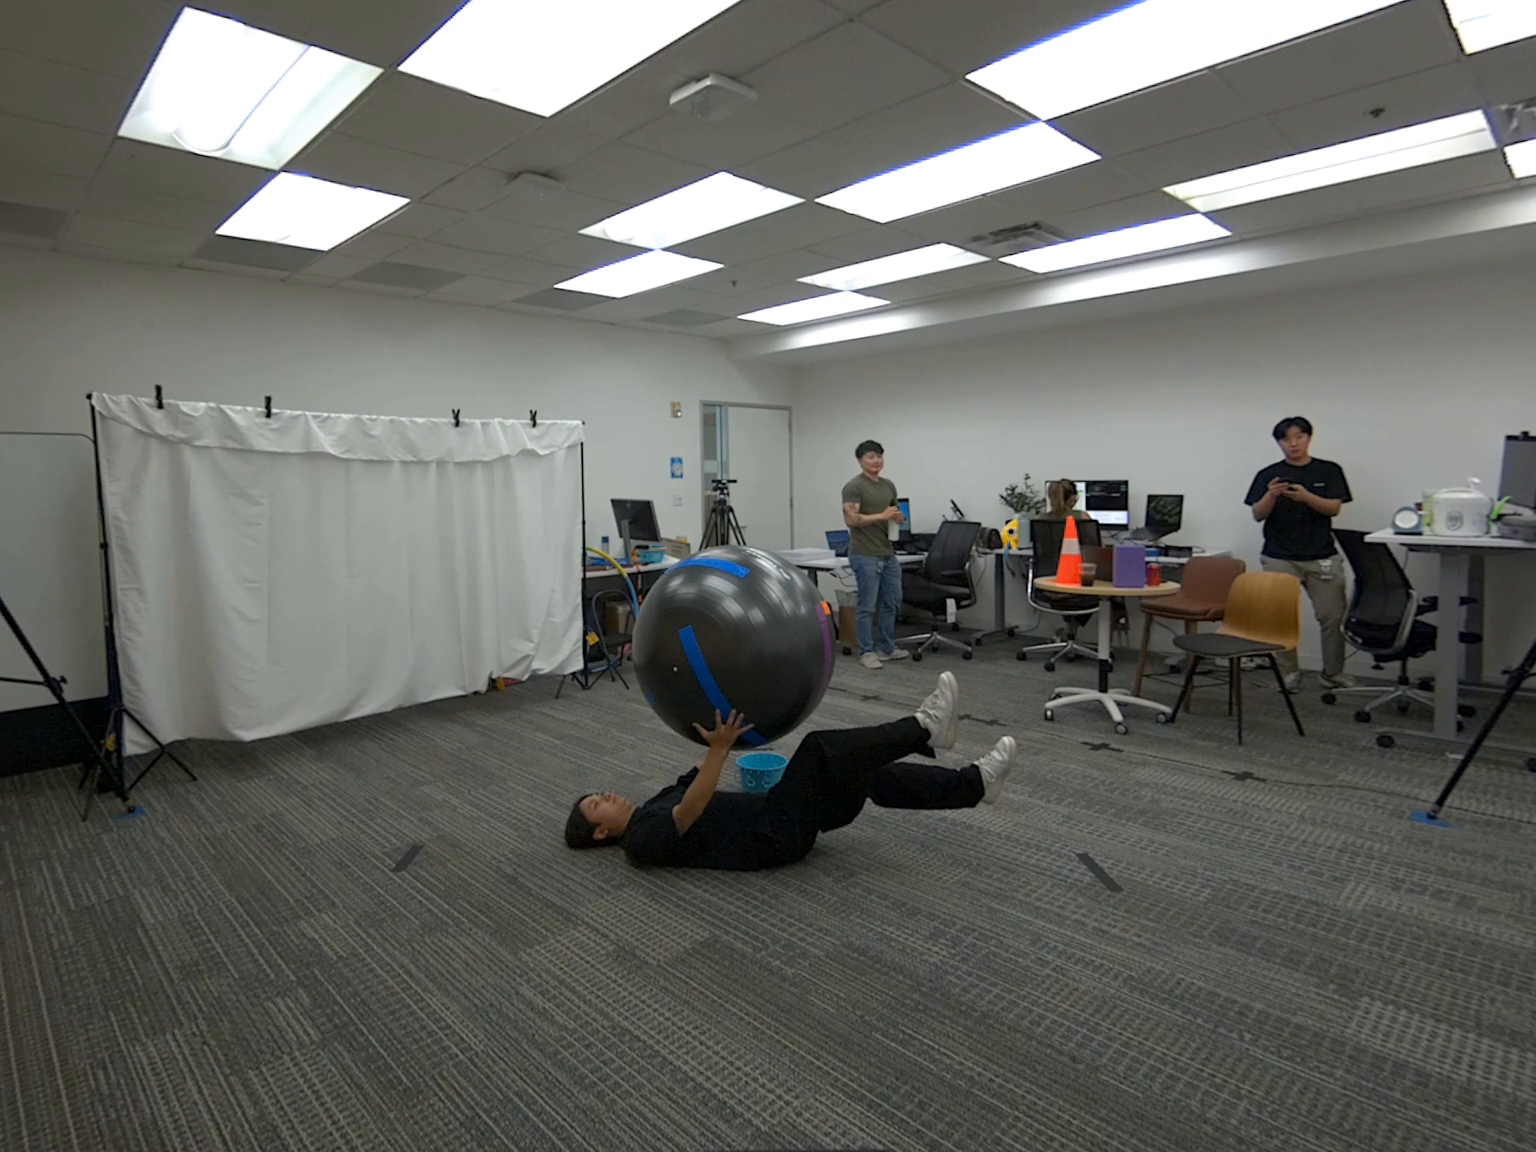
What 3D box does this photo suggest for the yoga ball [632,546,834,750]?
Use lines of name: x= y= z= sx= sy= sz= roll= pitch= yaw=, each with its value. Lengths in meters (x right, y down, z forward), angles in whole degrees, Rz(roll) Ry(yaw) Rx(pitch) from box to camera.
yoga ball: x=-0.132 y=0.271 z=3.203 sx=0.757 sy=0.755 sz=0.762 roll=-1 pitch=5 yaw=-2
